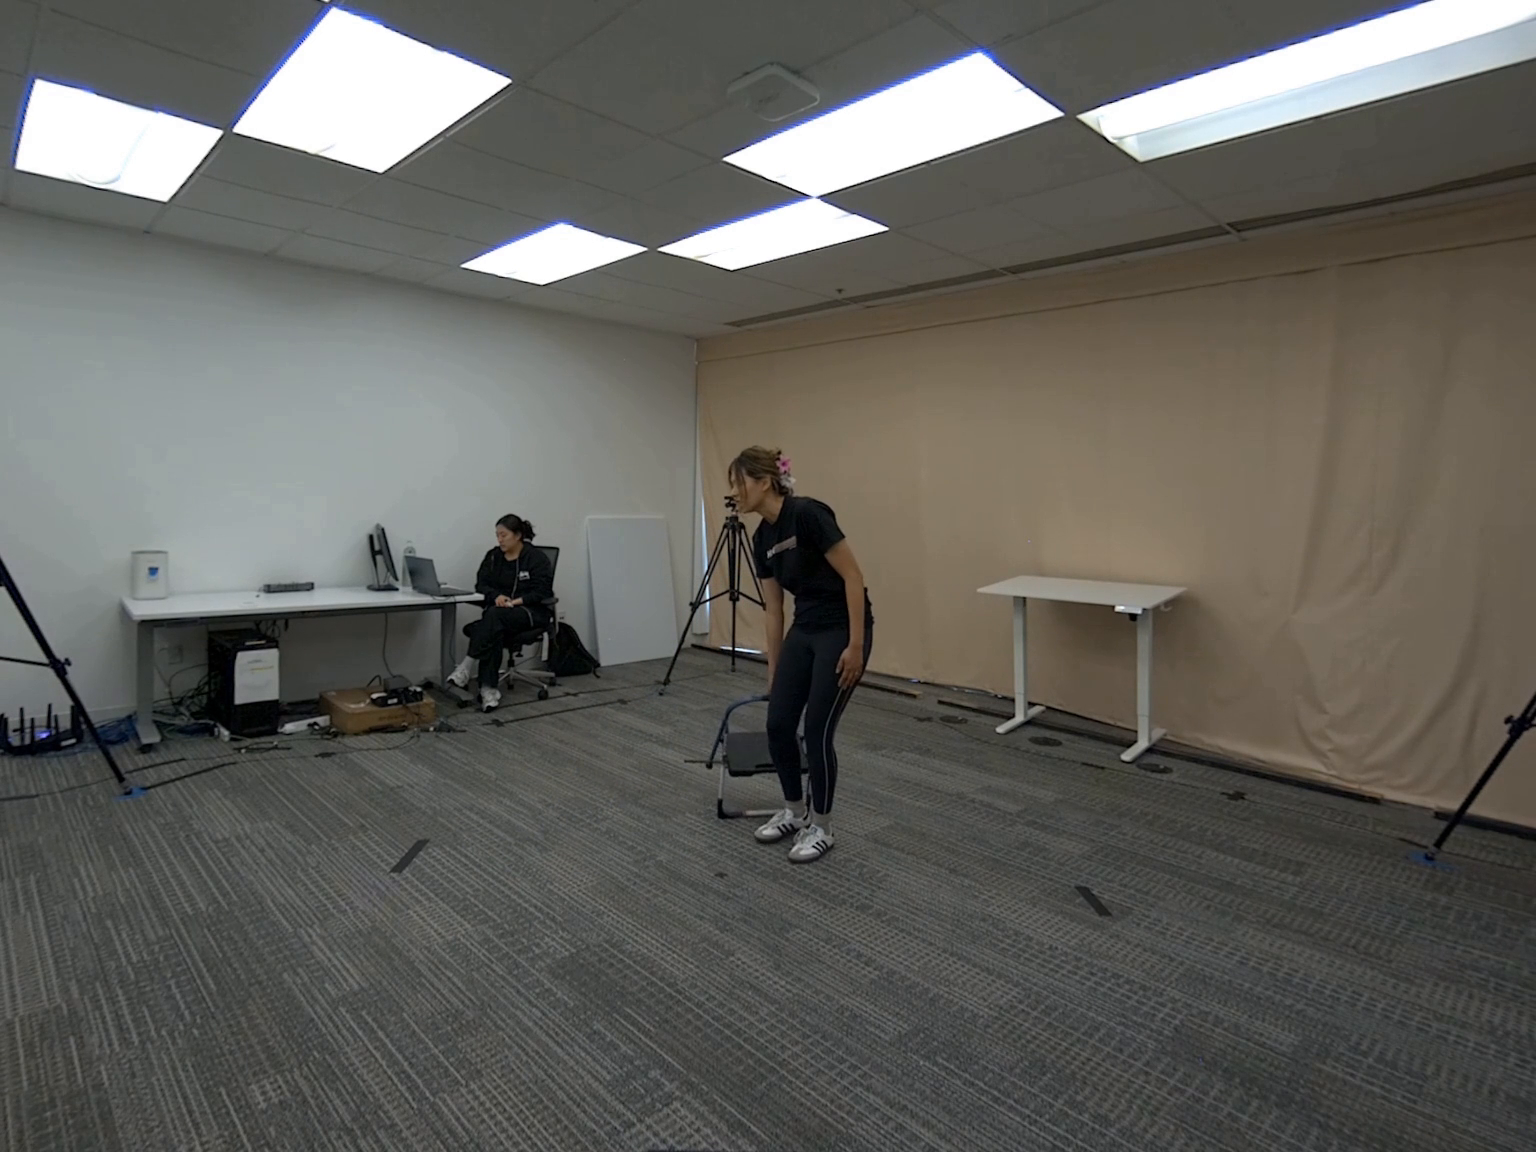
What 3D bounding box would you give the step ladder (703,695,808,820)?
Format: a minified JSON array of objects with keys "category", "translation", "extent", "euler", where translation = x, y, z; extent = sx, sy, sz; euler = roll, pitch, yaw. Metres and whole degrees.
[{"category":"step ladder","translation":[-0.026,0.717,3.691],"extent":[0.426,0.596,0.358],"euler":[0,31,-13]}]
